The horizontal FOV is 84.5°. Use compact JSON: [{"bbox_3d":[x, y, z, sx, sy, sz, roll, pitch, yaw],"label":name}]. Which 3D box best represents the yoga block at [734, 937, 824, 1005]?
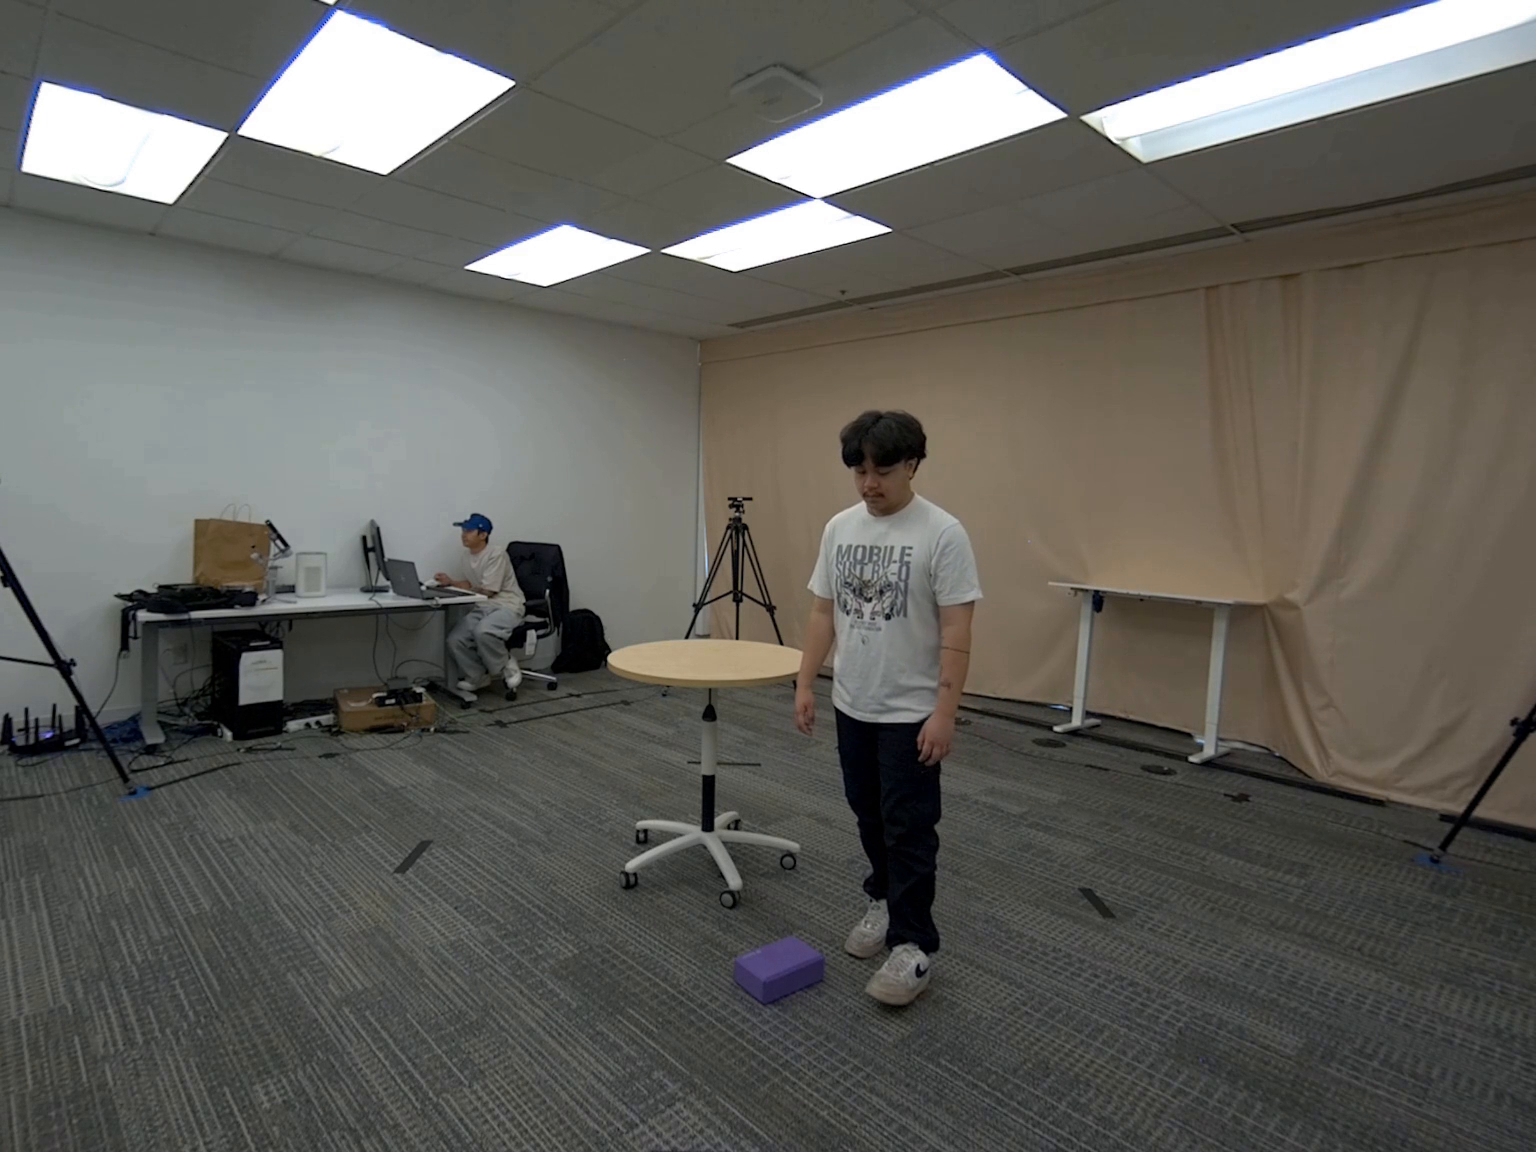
[{"bbox_3d":[0.030,1.133,2.433,0.224,0.076,0.153,-5,7,-39],"label":"yoga block"}]
